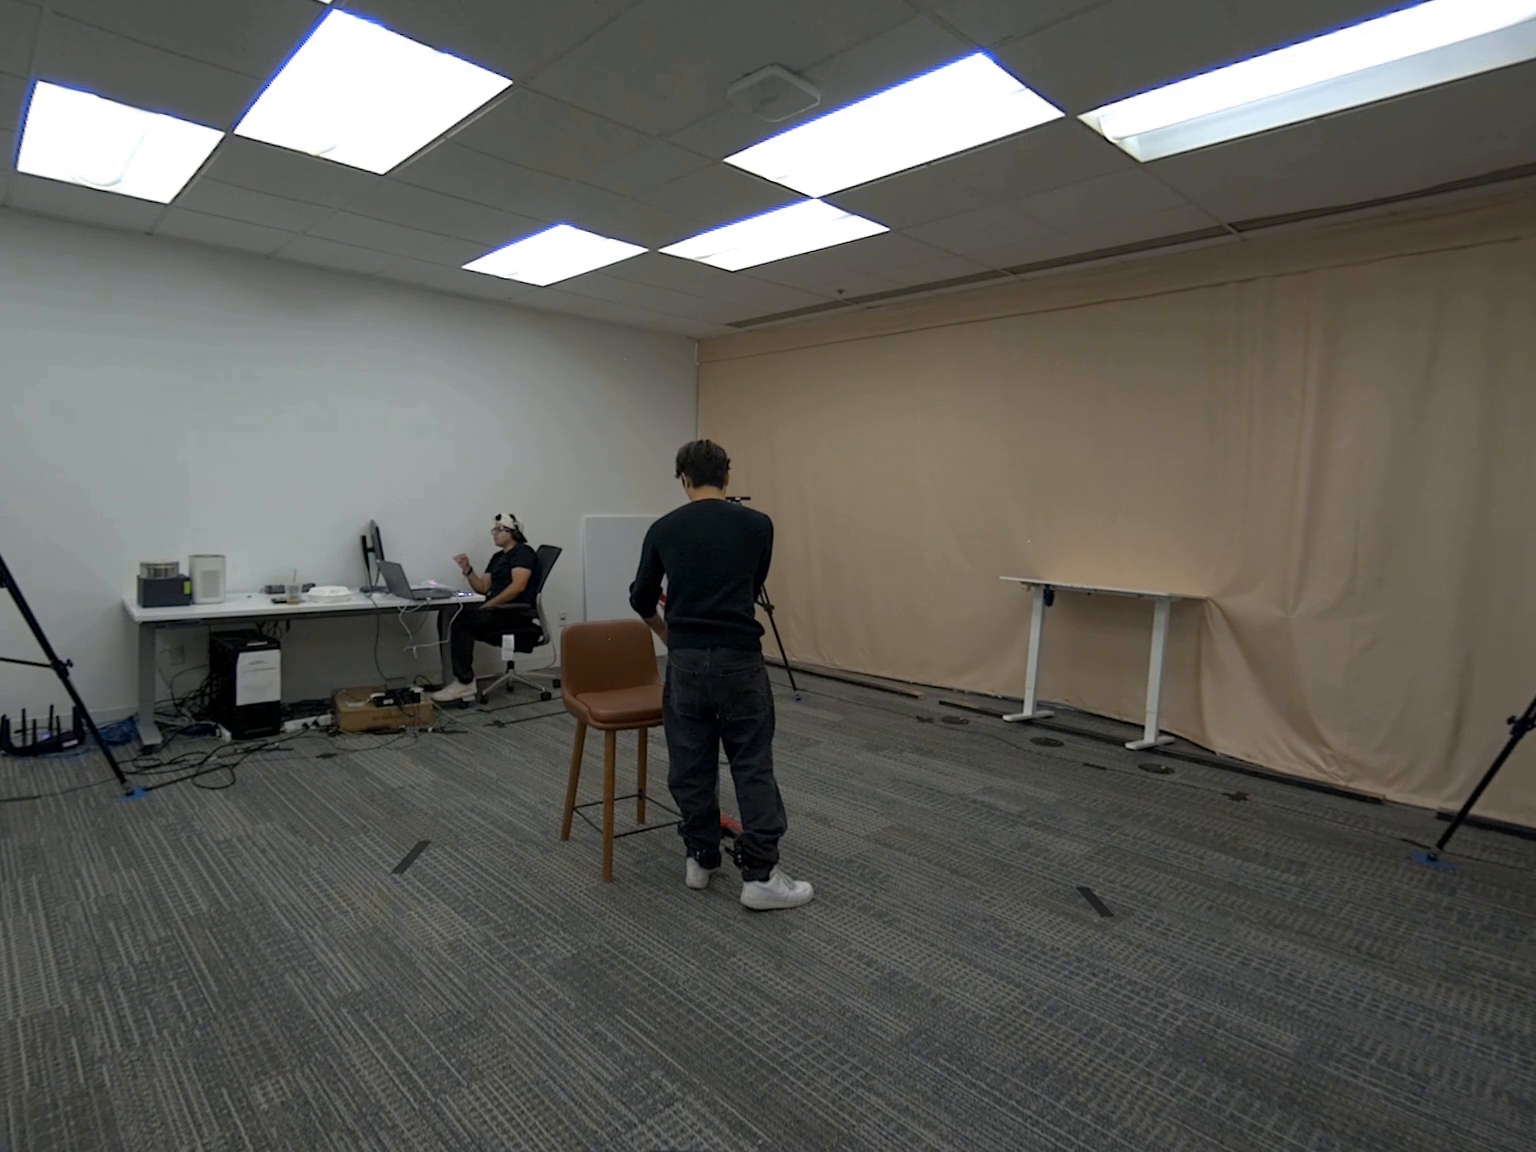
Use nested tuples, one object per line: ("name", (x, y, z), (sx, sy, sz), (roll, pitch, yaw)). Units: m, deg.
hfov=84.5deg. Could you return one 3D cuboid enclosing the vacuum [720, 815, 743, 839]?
("vacuum", (-0.313, 0.580, 3.434), (0.142, 1.039, 0.258), (-18, 12, -26))
